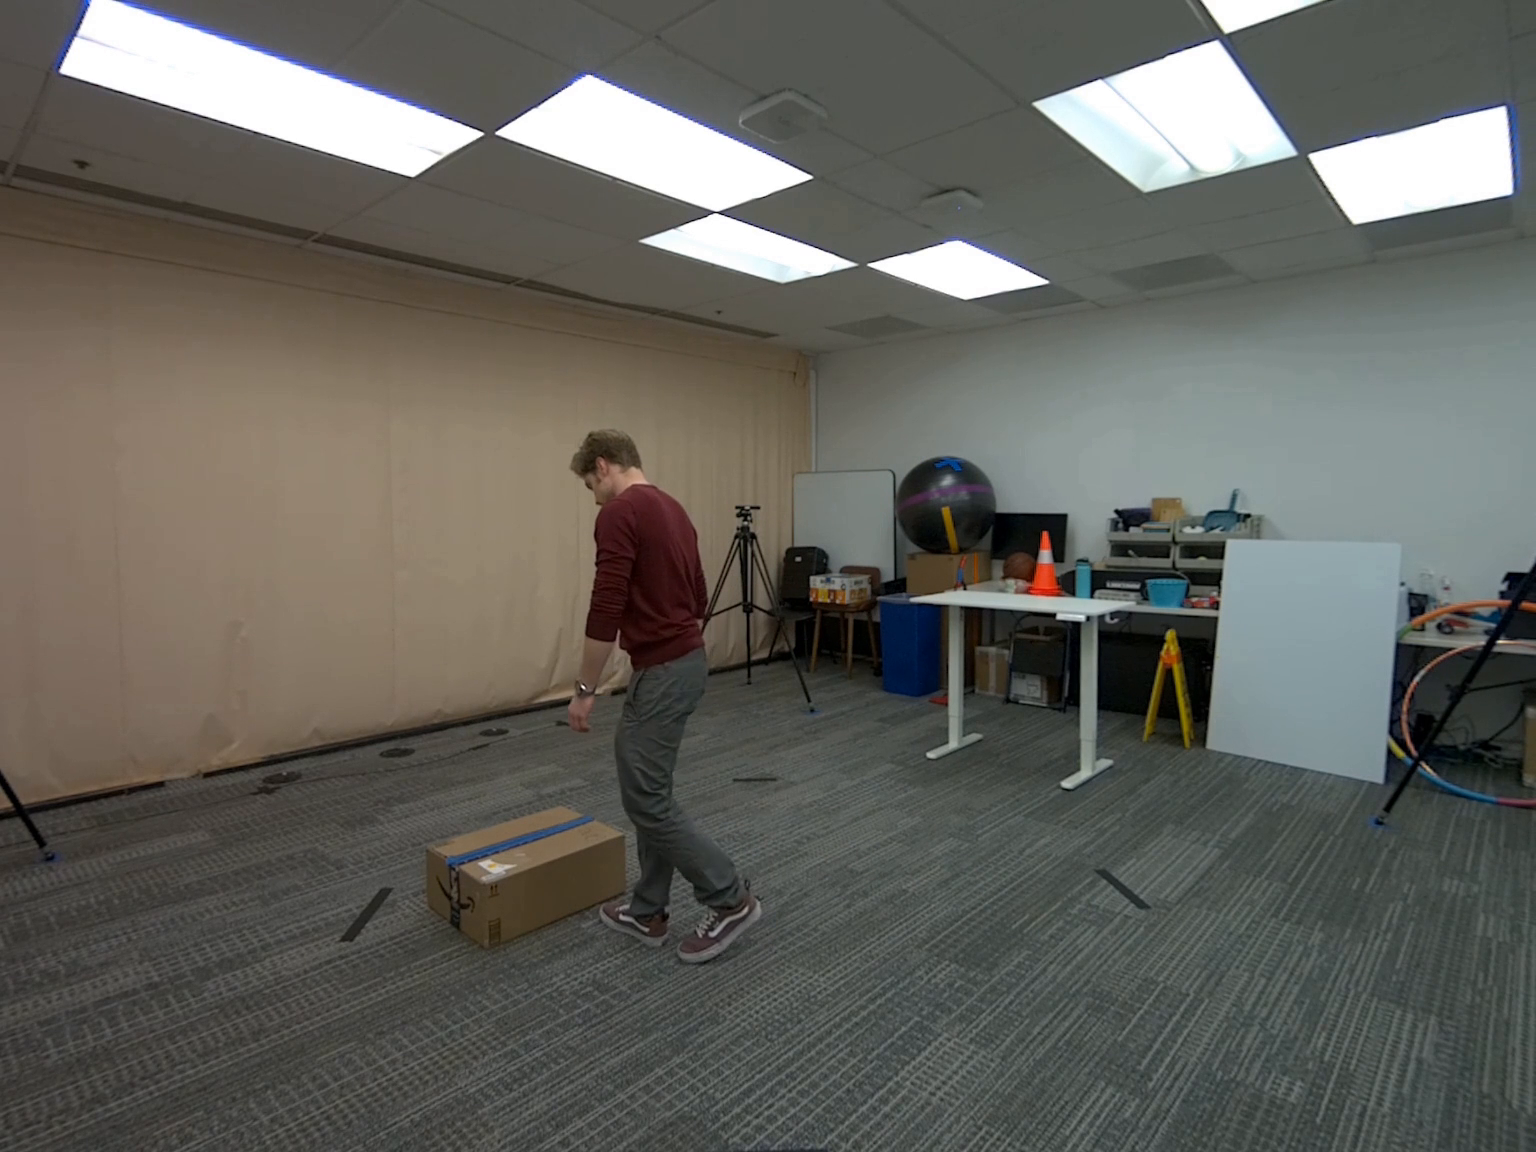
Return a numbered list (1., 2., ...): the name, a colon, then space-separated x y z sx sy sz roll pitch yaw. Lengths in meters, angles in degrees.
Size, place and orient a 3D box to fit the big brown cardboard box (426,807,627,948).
1. big brown cardboard box: -0.855 1.036 2.986 0.431 0.233 0.571 3 5 44
